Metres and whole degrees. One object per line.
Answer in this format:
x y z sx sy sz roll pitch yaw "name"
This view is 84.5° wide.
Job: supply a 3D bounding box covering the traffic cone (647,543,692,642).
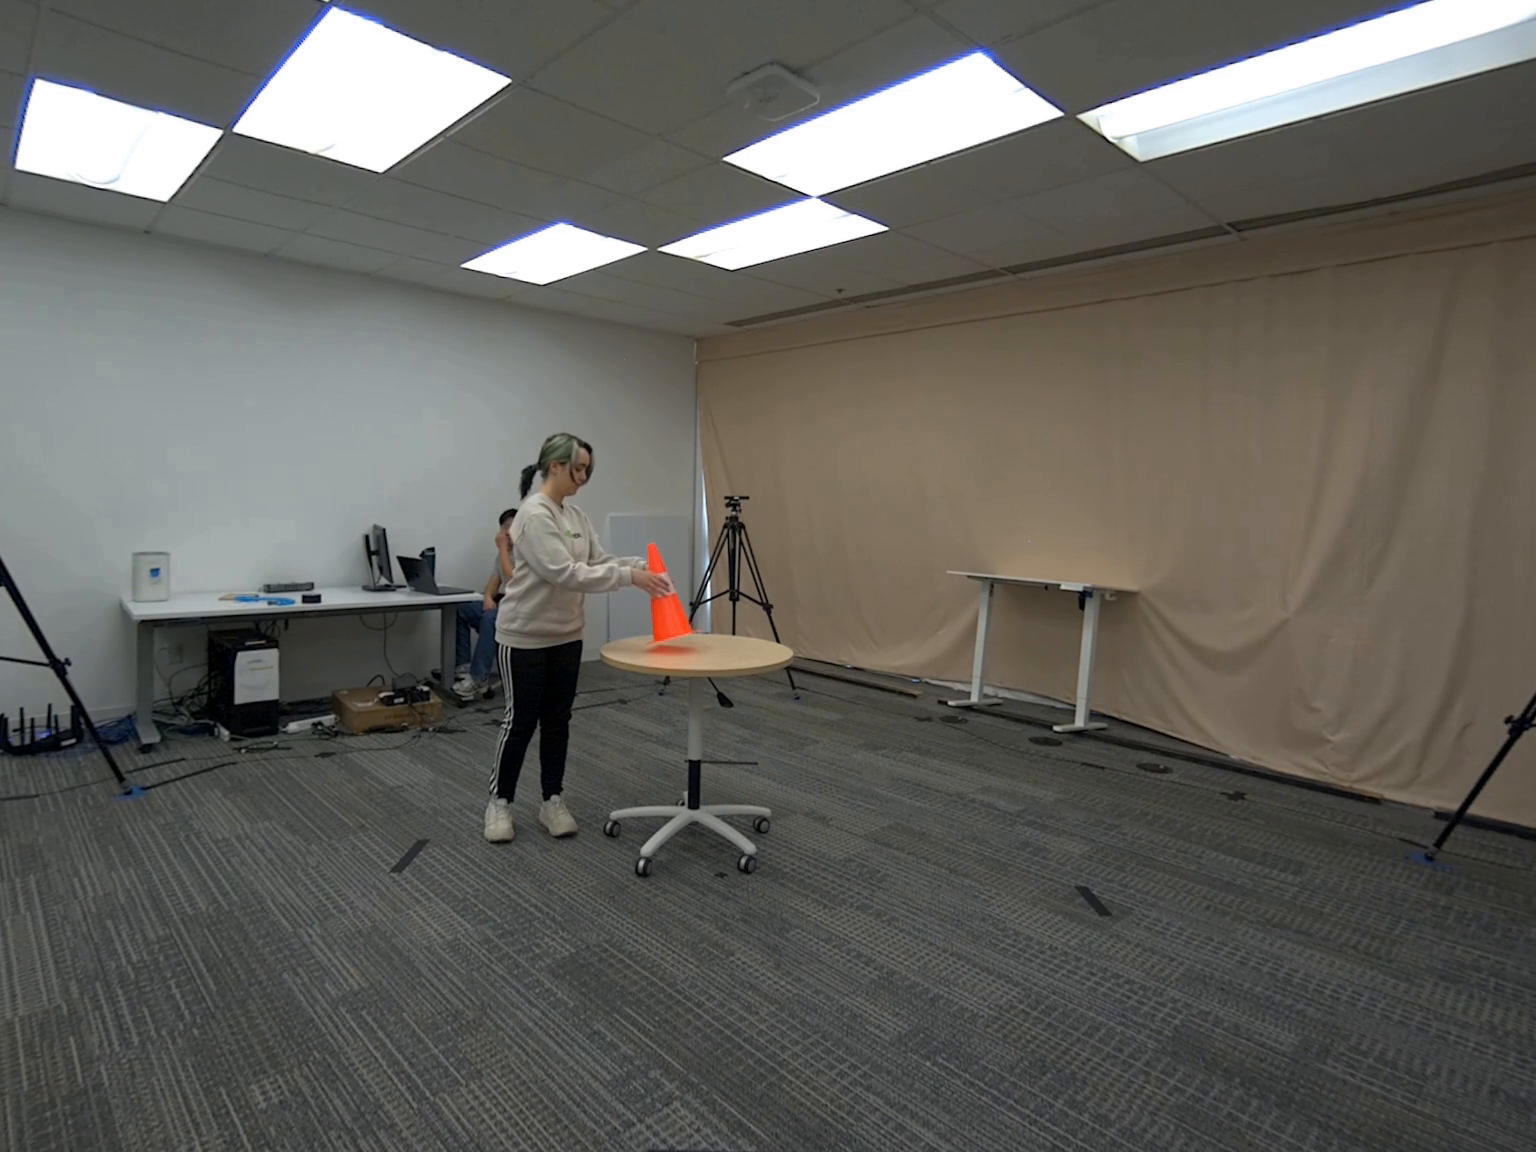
-0.437 0.059 3.339 0.206 0.384 0.202 -15 -1 22 "traffic cone"
